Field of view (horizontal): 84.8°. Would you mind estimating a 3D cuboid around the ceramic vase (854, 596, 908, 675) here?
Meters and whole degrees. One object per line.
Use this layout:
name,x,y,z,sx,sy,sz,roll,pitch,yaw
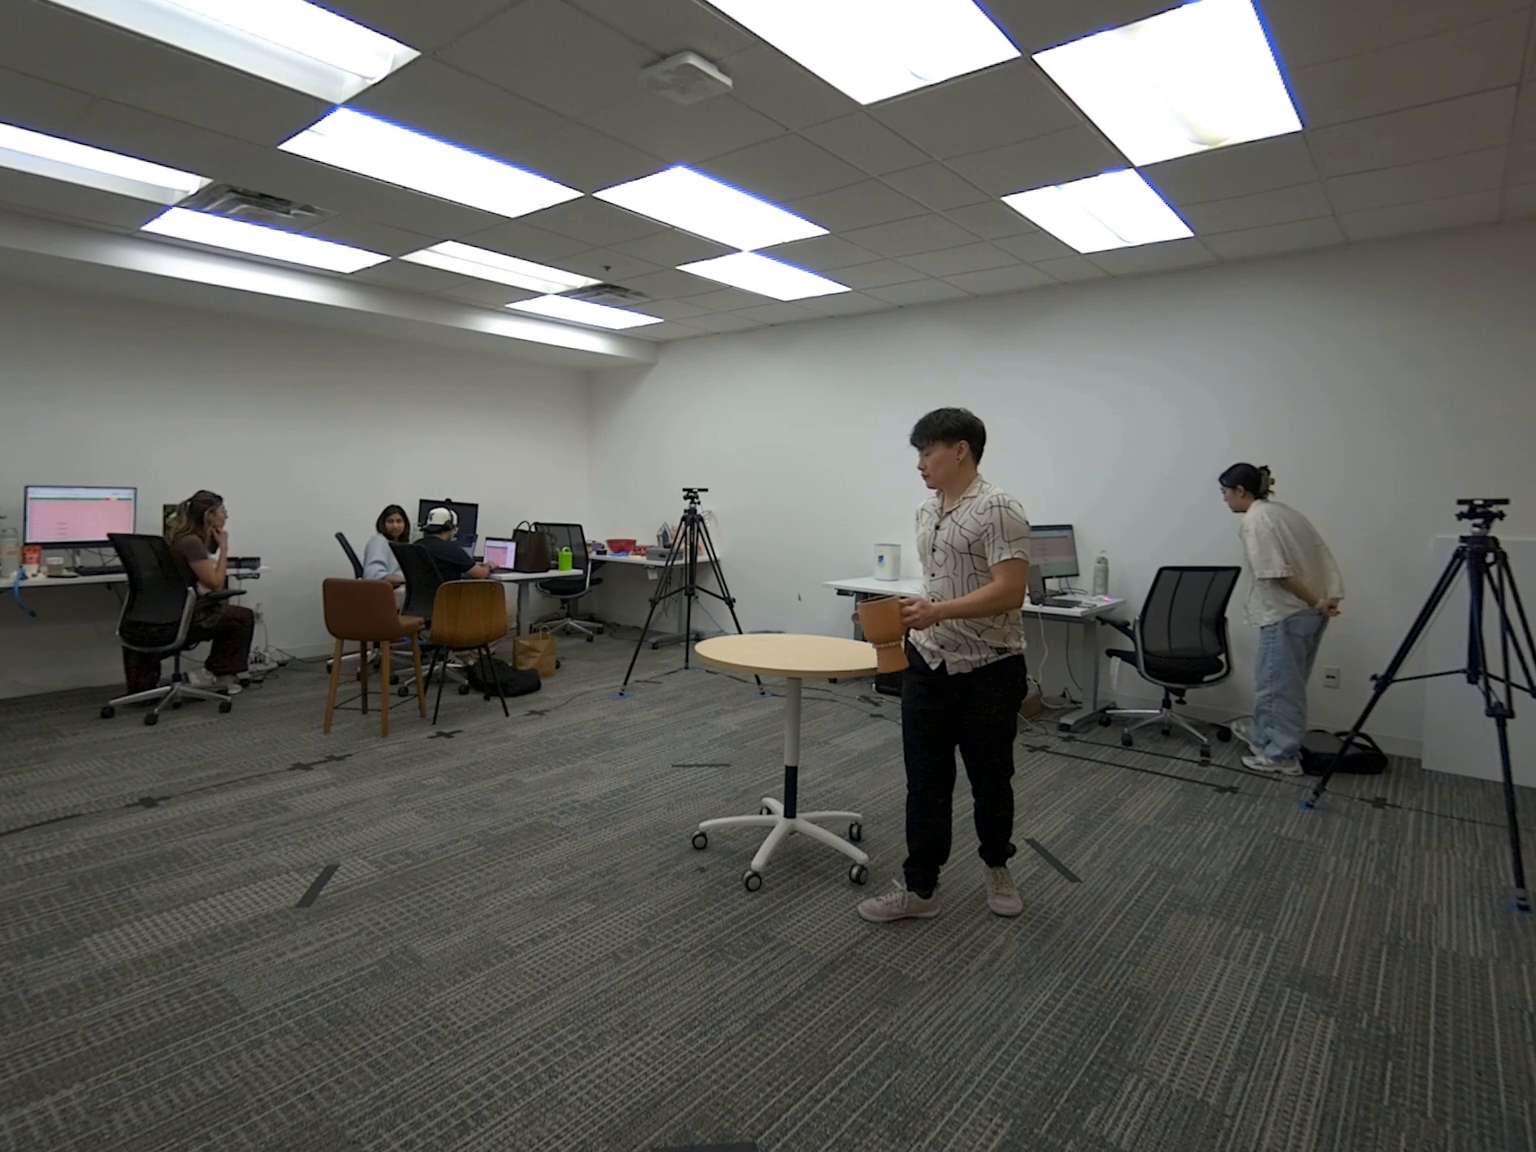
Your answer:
ceramic vase,0.362,0.176,2.612,0.132,0.220,0.162,-12,1,-25
